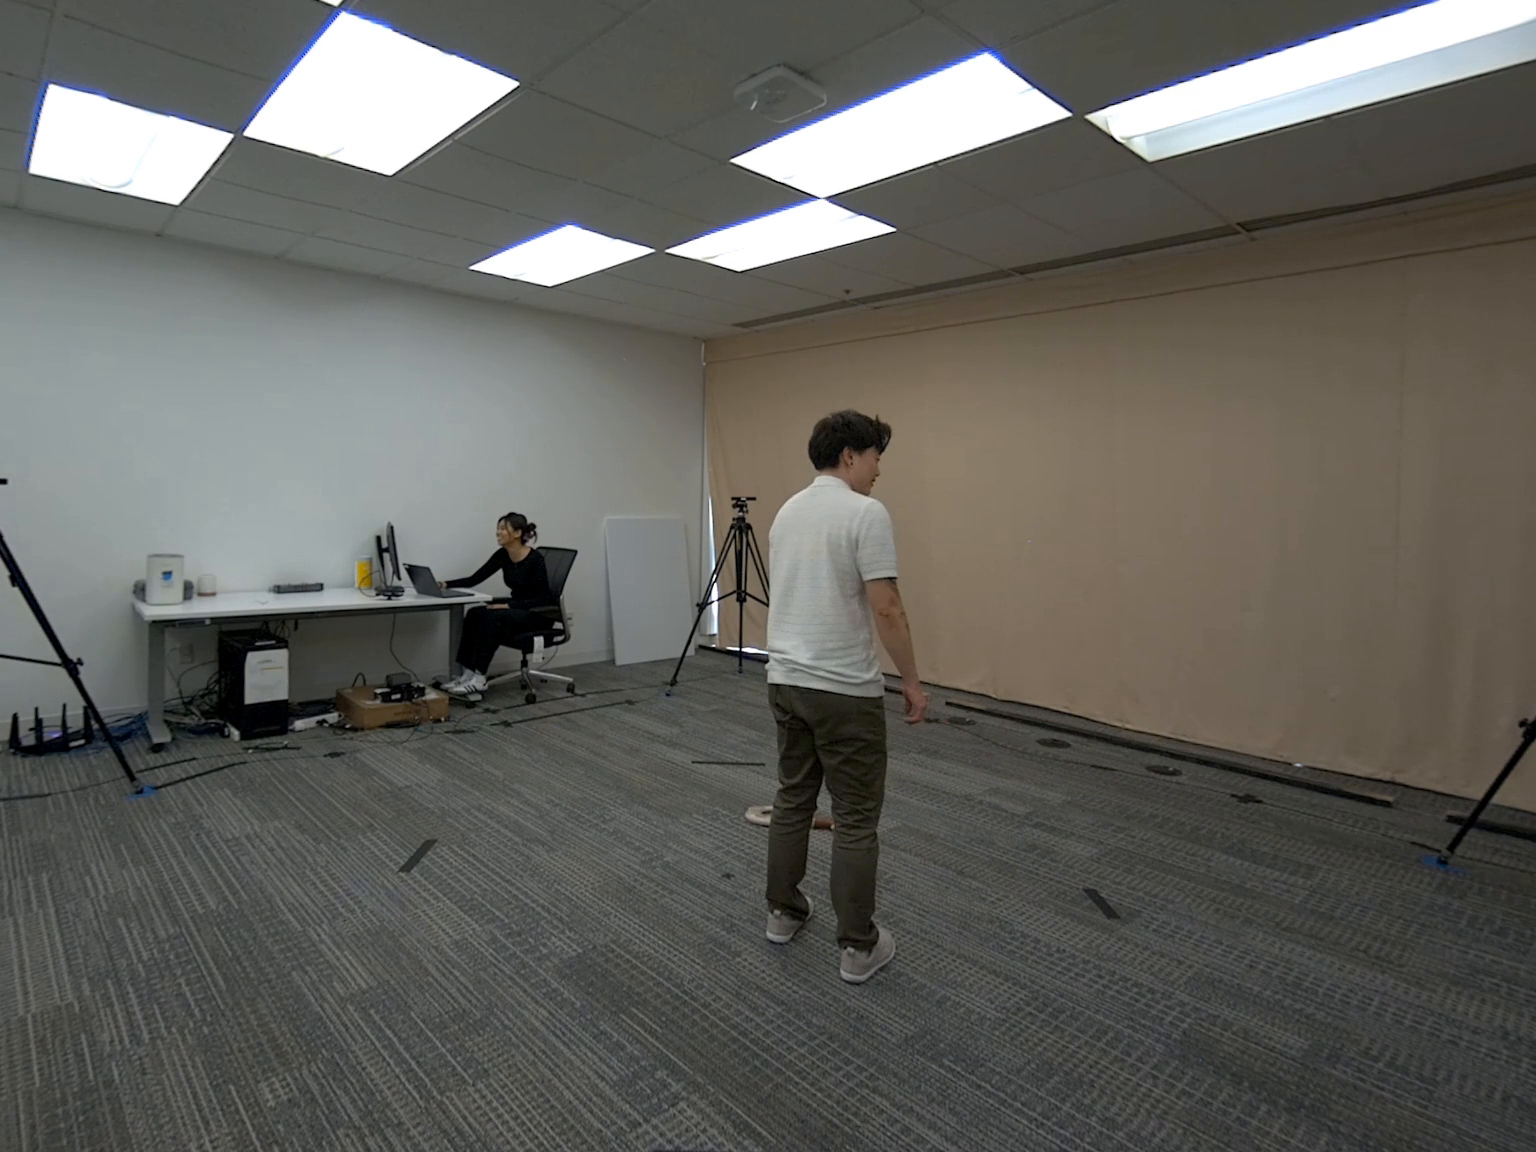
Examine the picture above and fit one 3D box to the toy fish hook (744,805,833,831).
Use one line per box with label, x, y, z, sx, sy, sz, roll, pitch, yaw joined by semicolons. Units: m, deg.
toy fish hook;0.149;1.047;3.646;0.512;0.048;0.223;3;7;13
